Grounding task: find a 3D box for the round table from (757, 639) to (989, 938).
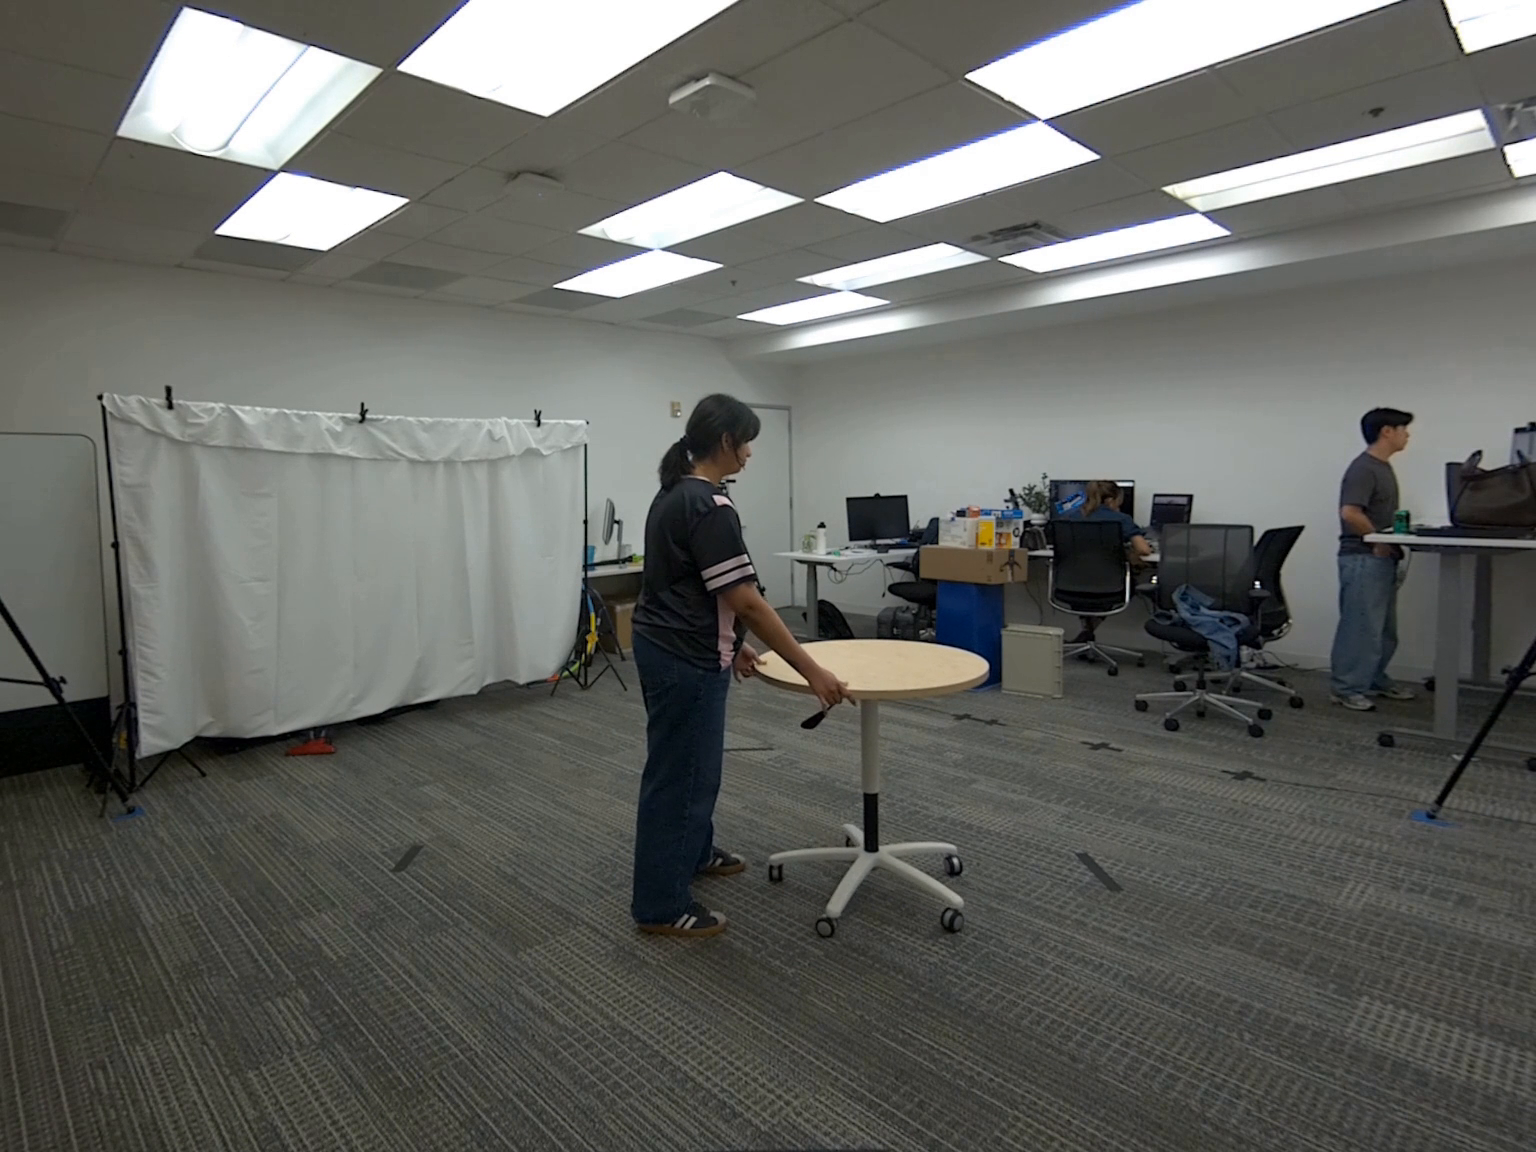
[{"bbox_3d":[0.349,0.676,2.870,0.763,0.791,0.768,-1,5,-2],"label":"round table"}]
